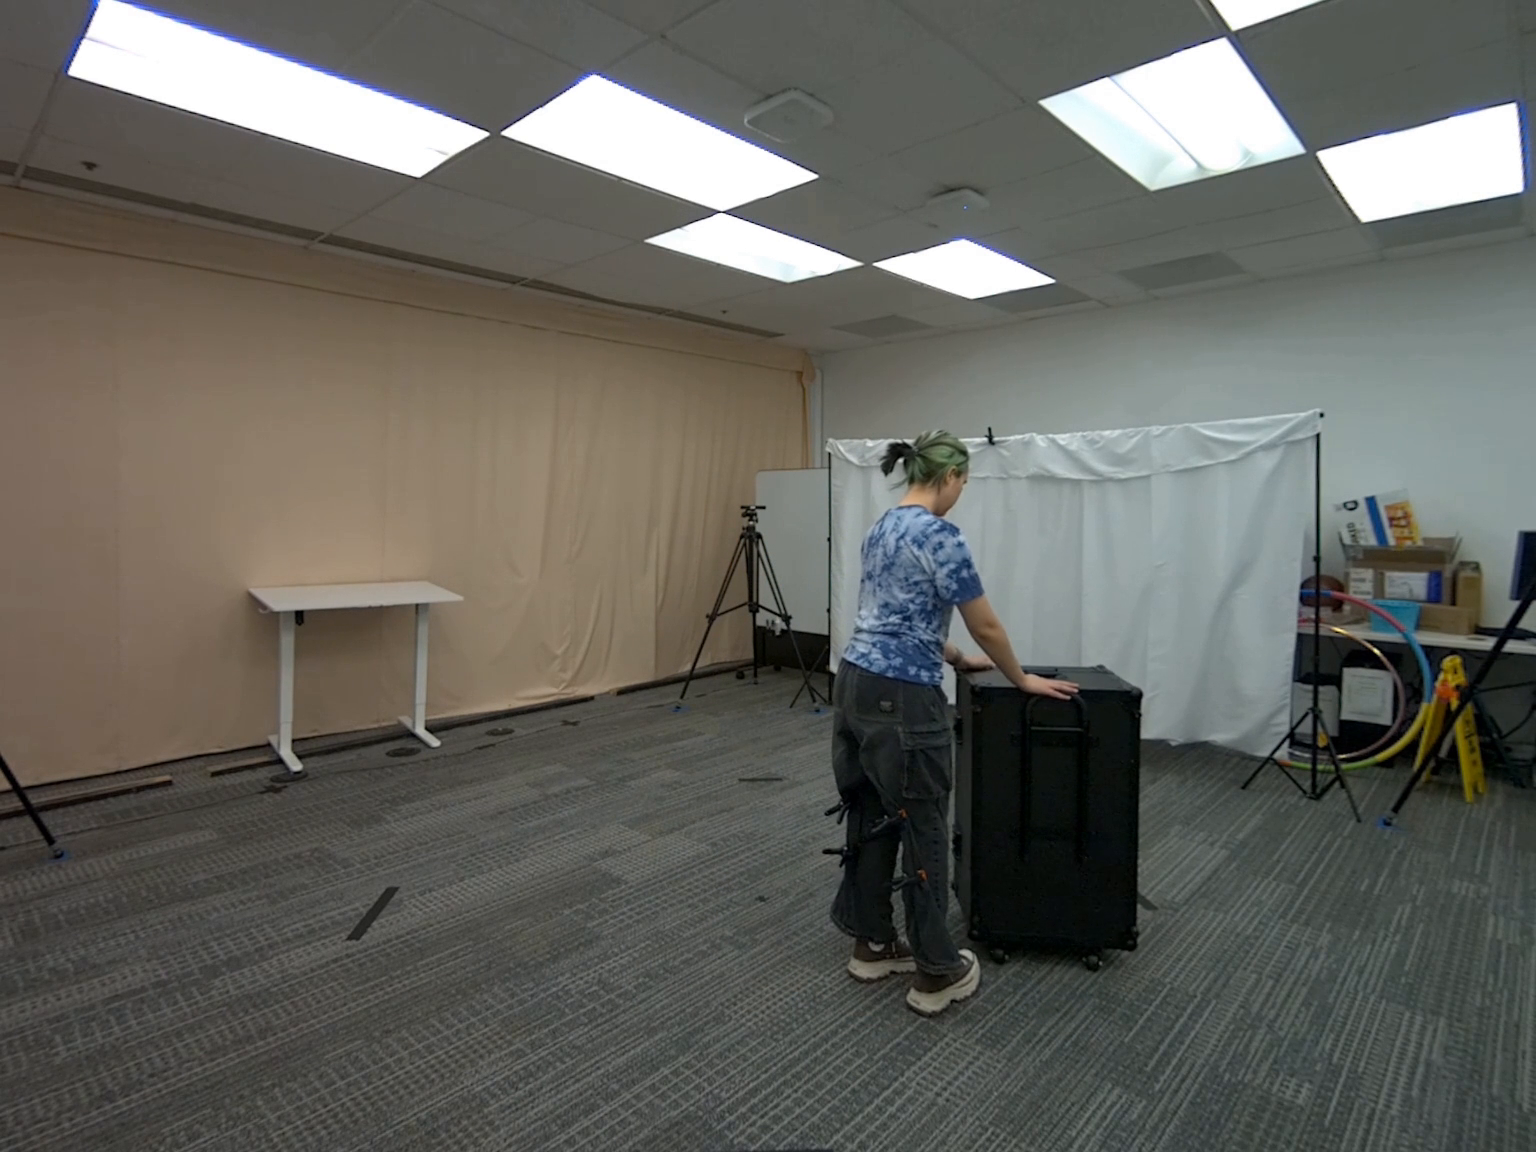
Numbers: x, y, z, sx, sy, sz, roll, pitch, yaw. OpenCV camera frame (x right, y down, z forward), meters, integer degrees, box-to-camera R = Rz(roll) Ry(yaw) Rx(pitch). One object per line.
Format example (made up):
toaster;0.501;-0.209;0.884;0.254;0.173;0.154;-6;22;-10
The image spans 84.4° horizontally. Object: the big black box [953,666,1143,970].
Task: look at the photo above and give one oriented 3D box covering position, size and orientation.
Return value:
big black box;0.880;0.742;2.672;0.526;0.859;0.394;0;3;7
